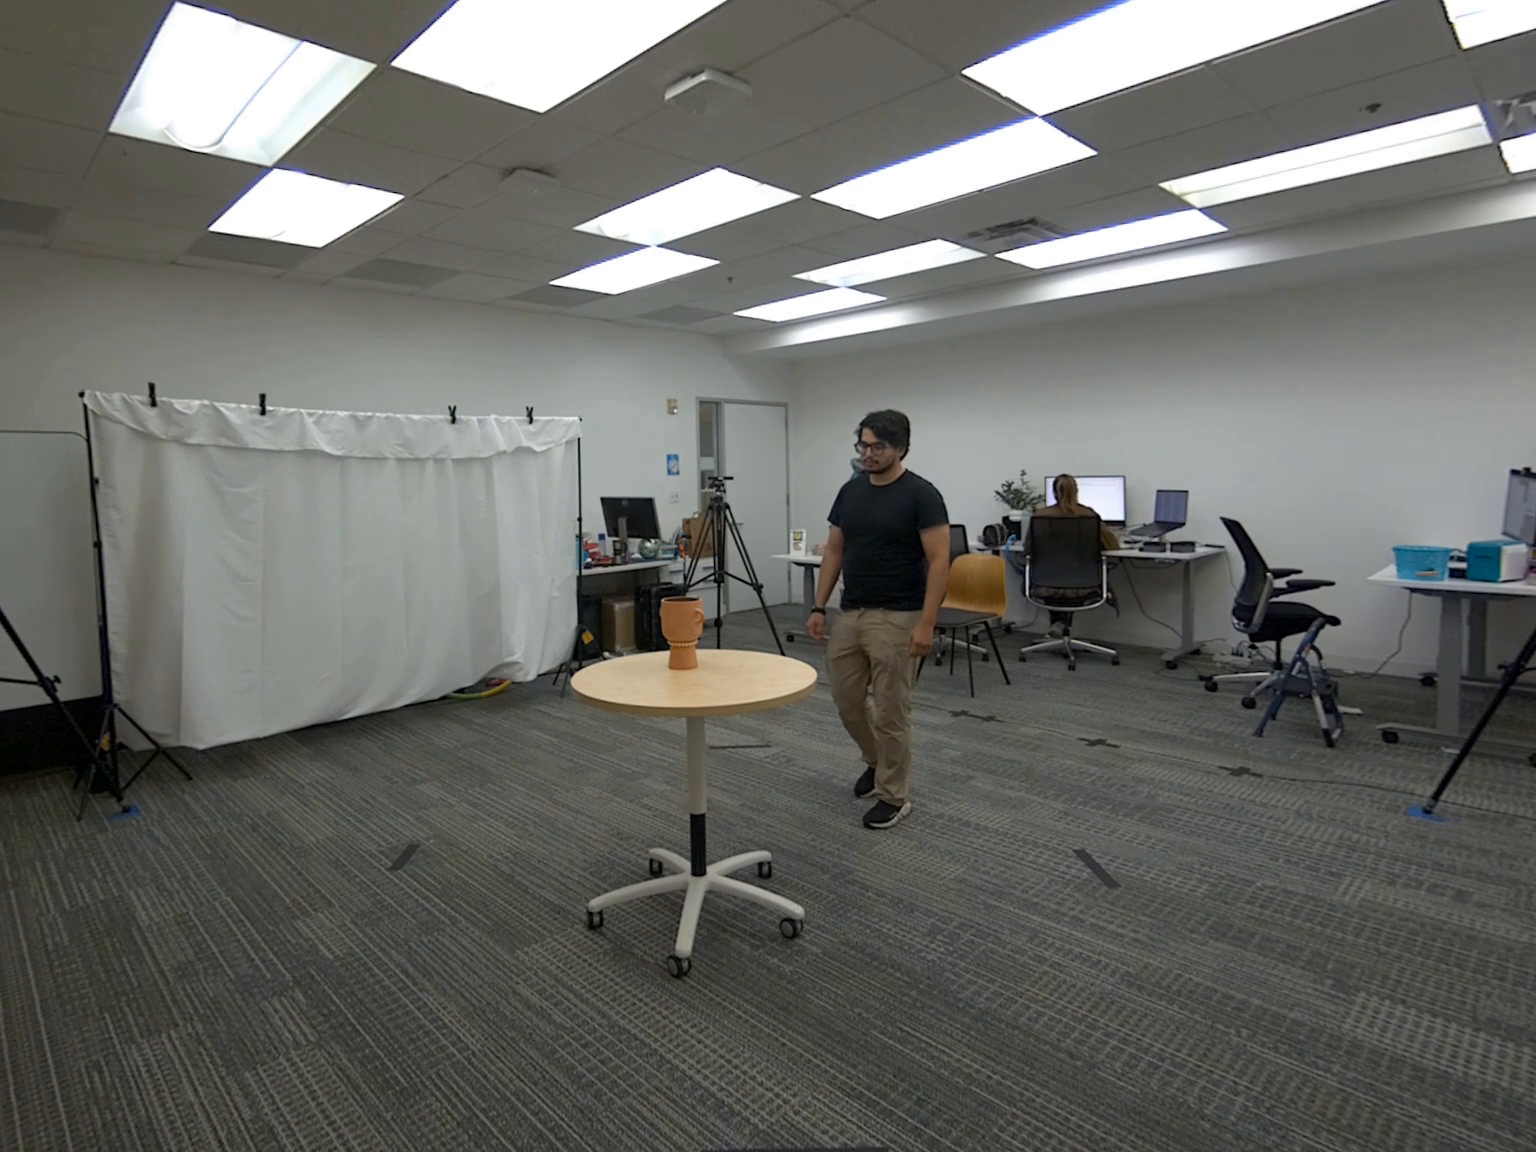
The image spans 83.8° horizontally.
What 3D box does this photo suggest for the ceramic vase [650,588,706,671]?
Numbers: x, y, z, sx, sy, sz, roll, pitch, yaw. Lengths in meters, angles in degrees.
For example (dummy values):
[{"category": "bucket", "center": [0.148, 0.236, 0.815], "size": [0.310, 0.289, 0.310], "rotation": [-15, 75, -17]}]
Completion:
[{"category": "ceramic vase", "center": [-0.278, 0.188, 2.778], "size": [0.133, 0.219, 0.161], "rotation": [-2, 4, -10]}]
